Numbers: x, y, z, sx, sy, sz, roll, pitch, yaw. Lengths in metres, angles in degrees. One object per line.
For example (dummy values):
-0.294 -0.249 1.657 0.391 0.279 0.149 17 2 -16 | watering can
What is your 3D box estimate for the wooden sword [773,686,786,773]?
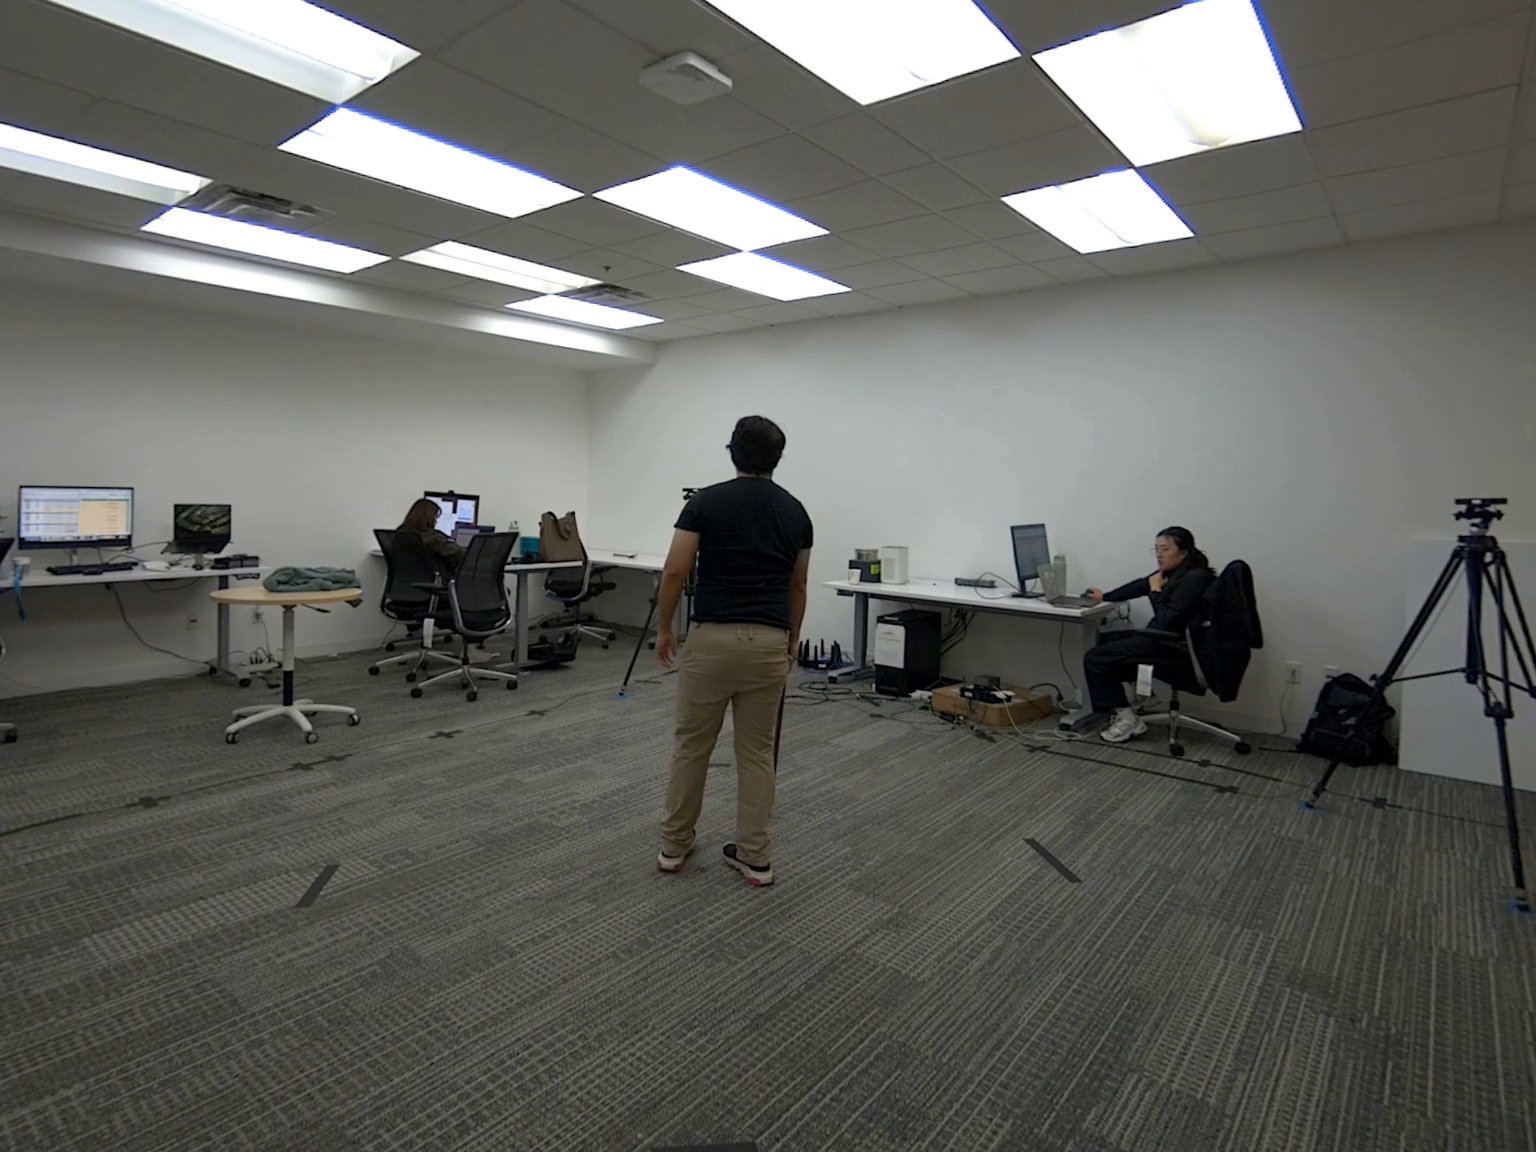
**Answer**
0.020 0.604 3.517 0.025 1.000 0.051 21 38 19 | wooden sword
